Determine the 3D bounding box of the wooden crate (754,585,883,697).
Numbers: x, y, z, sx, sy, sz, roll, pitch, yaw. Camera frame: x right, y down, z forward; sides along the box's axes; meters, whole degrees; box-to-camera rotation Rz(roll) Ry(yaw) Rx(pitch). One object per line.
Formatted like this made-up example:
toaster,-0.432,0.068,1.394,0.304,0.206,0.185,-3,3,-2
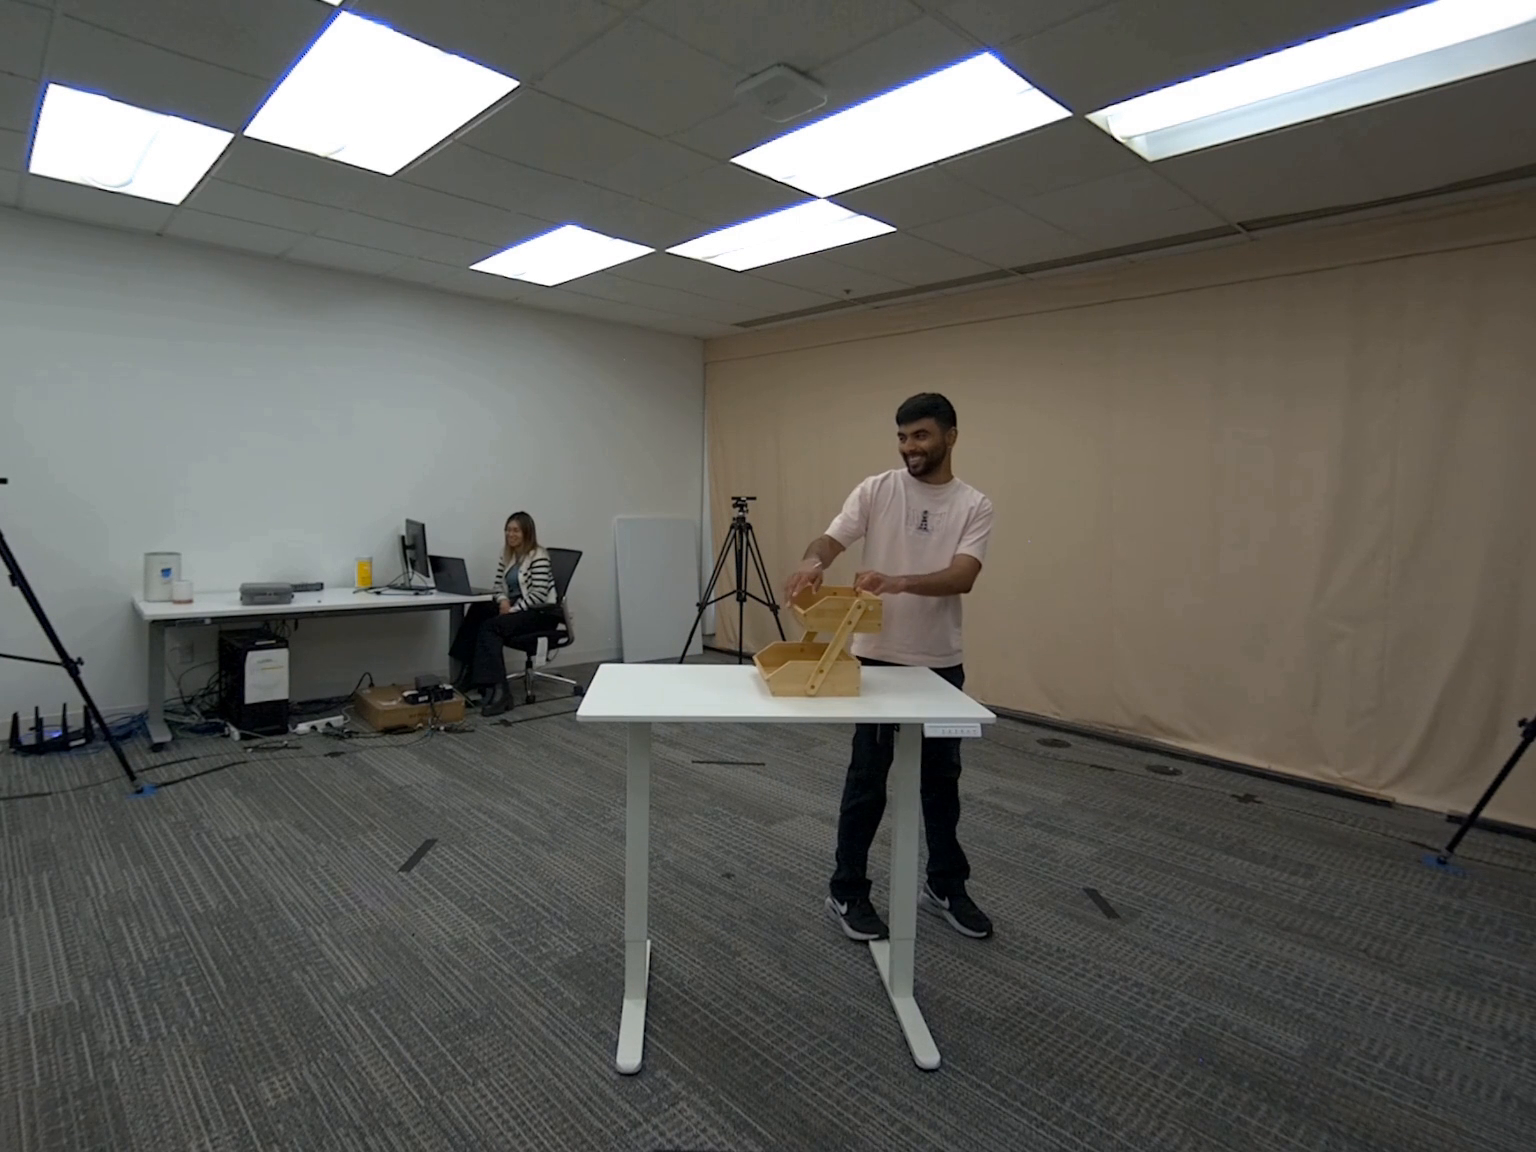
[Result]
wooden crate,0.119,0.171,2.317,0.300,0.273,0.327,4,4,-7
